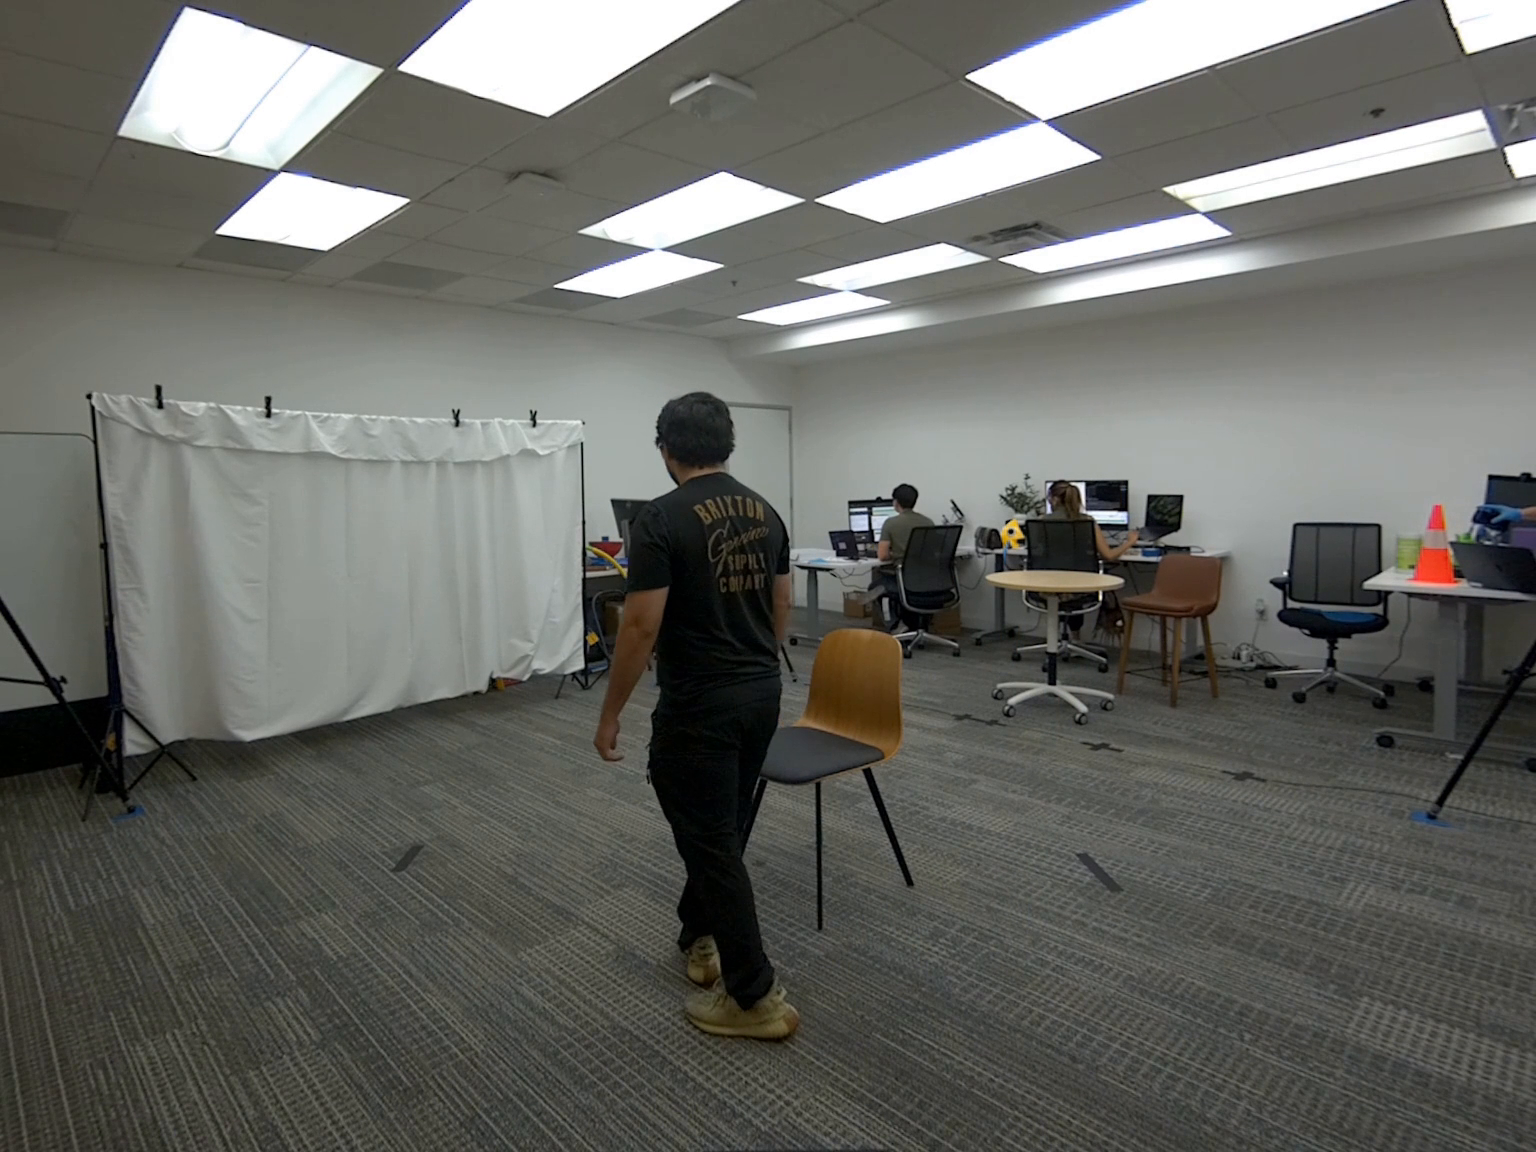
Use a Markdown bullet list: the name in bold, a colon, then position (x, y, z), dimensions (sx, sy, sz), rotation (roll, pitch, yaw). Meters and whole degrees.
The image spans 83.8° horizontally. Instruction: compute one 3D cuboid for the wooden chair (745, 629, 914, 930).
- **wooden chair**: position (0.171, 0.638, 2.918), dimensions (0.508, 0.876, 0.493), rotation (1, 2, -40)
